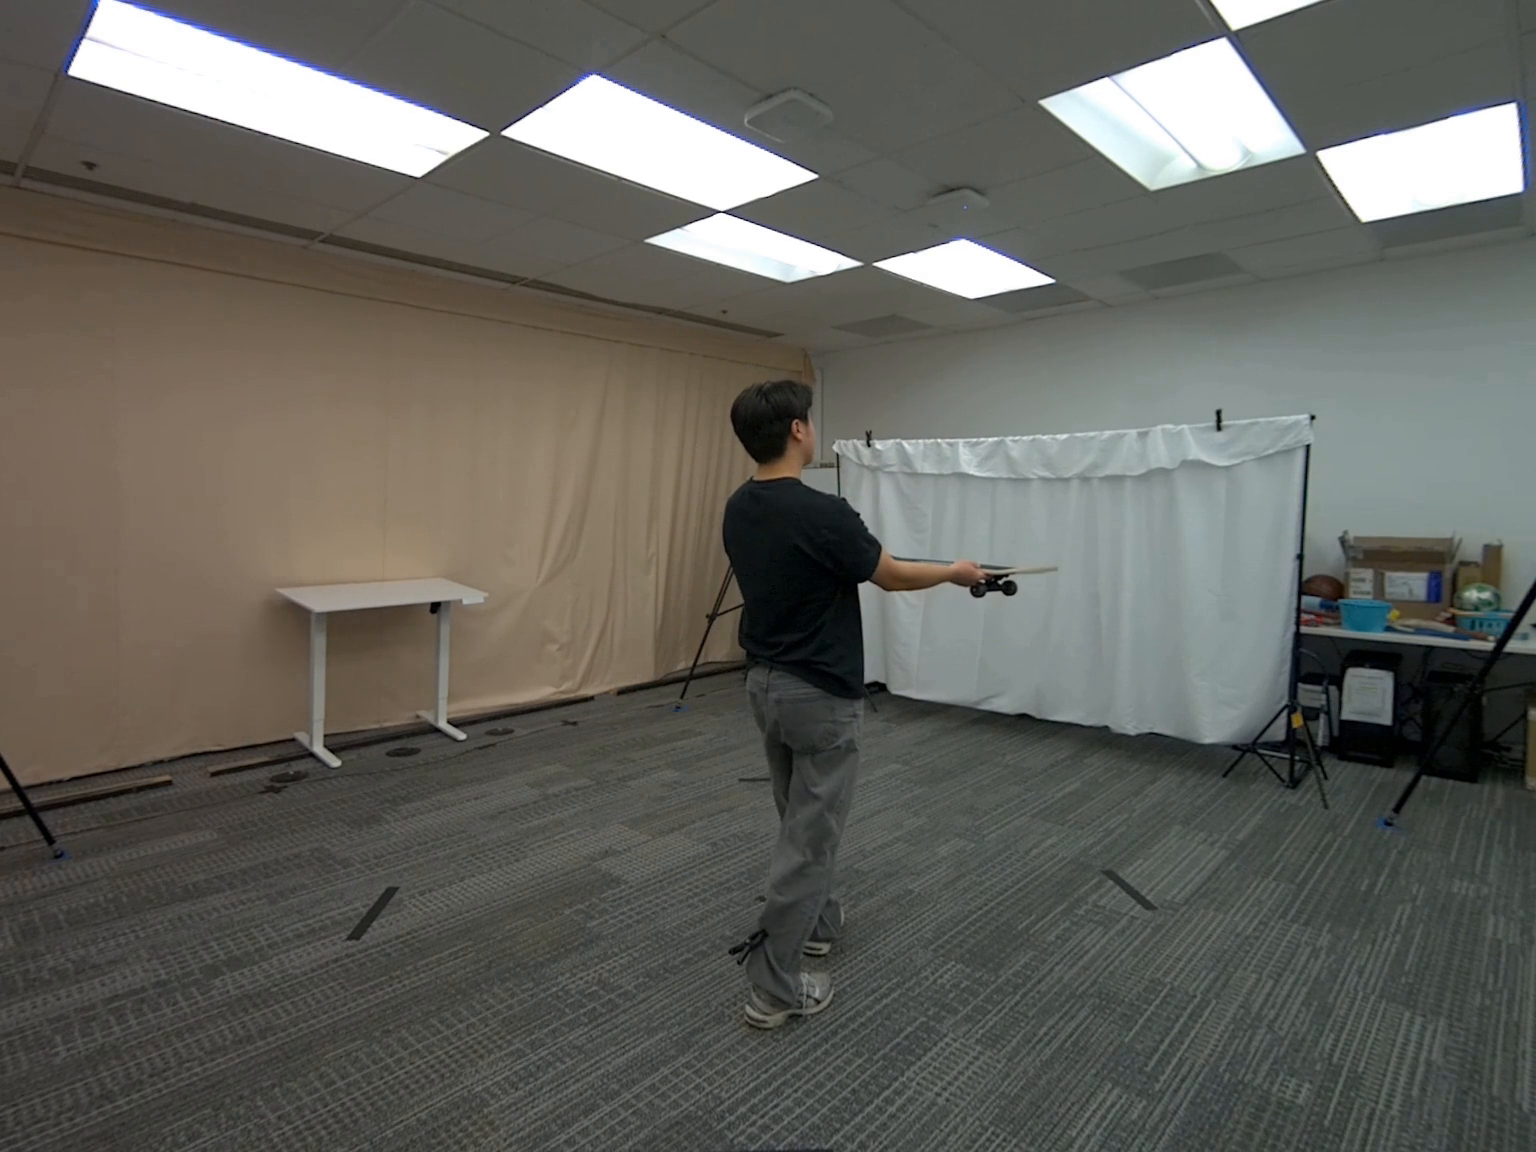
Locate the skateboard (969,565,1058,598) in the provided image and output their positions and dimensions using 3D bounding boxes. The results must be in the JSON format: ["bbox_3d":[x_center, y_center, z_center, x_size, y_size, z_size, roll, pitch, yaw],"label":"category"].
[{"bbox_3d":[0.573,-0.006,2.745,0.188,0.110,0.811,-2,6,-36],"label":"skateboard"}]
